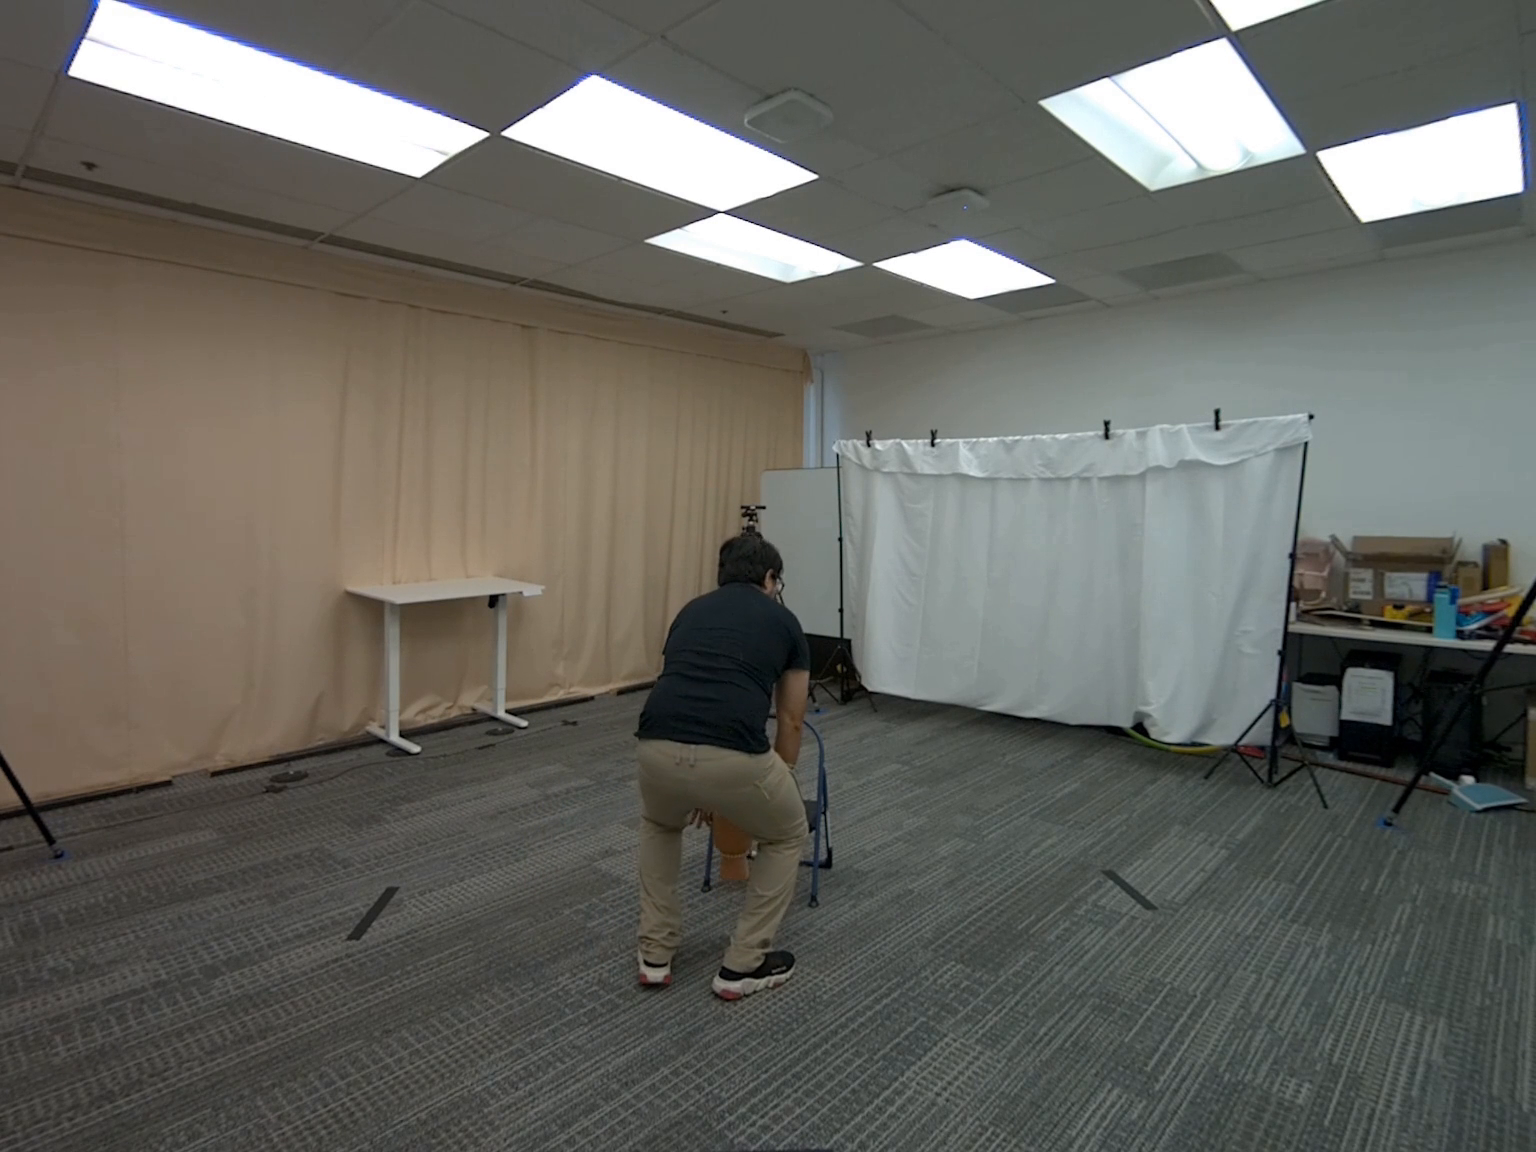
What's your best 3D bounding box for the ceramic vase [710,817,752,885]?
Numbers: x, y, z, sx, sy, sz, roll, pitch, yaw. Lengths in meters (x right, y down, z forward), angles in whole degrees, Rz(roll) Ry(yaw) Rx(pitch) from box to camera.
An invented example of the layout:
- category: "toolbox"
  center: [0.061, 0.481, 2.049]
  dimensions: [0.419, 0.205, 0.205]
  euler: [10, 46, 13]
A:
- category: "ceramic vase"
  center: [-0.103, 0.872, 2.739]
  dimensions: [0.131, 0.219, 0.163]
  euler: [-3, 3, -31]
